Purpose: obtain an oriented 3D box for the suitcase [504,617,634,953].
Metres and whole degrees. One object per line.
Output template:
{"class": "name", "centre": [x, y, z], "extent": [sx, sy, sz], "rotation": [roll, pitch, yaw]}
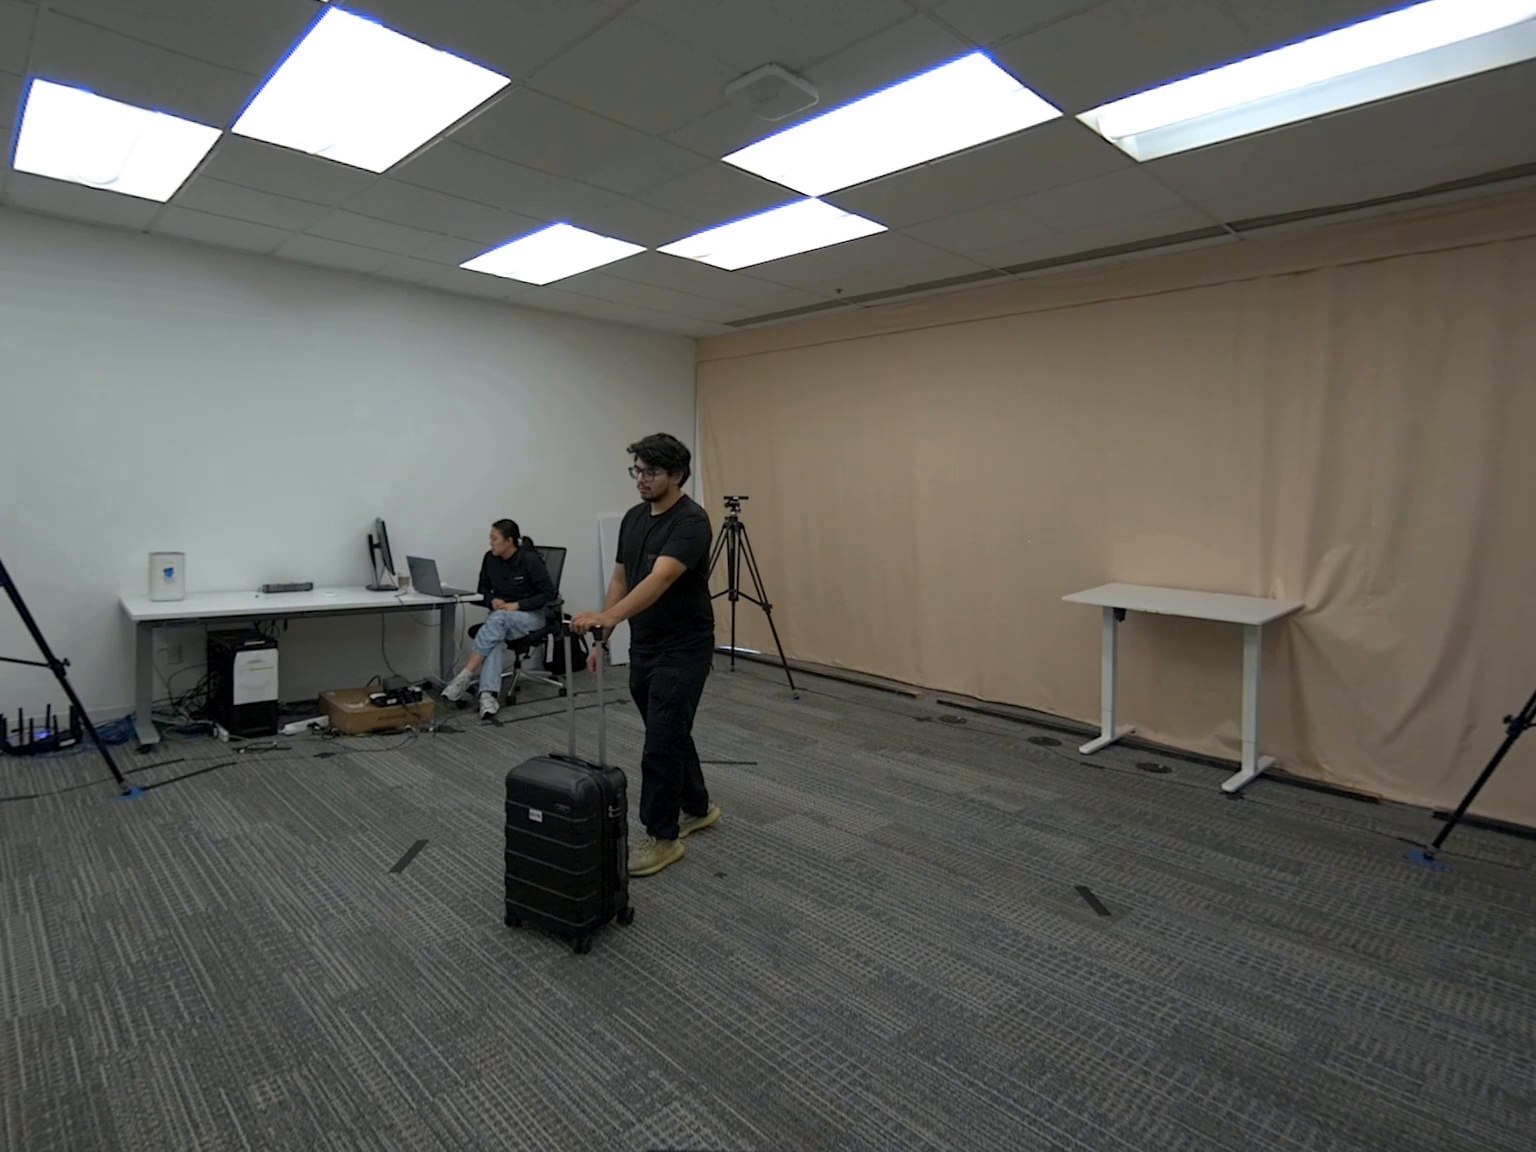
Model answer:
{"class": "suitcase", "centre": [-0.650, 0.666, 2.647], "extent": [0.392, 0.973, 0.253], "rotation": [4, 9, 30]}
